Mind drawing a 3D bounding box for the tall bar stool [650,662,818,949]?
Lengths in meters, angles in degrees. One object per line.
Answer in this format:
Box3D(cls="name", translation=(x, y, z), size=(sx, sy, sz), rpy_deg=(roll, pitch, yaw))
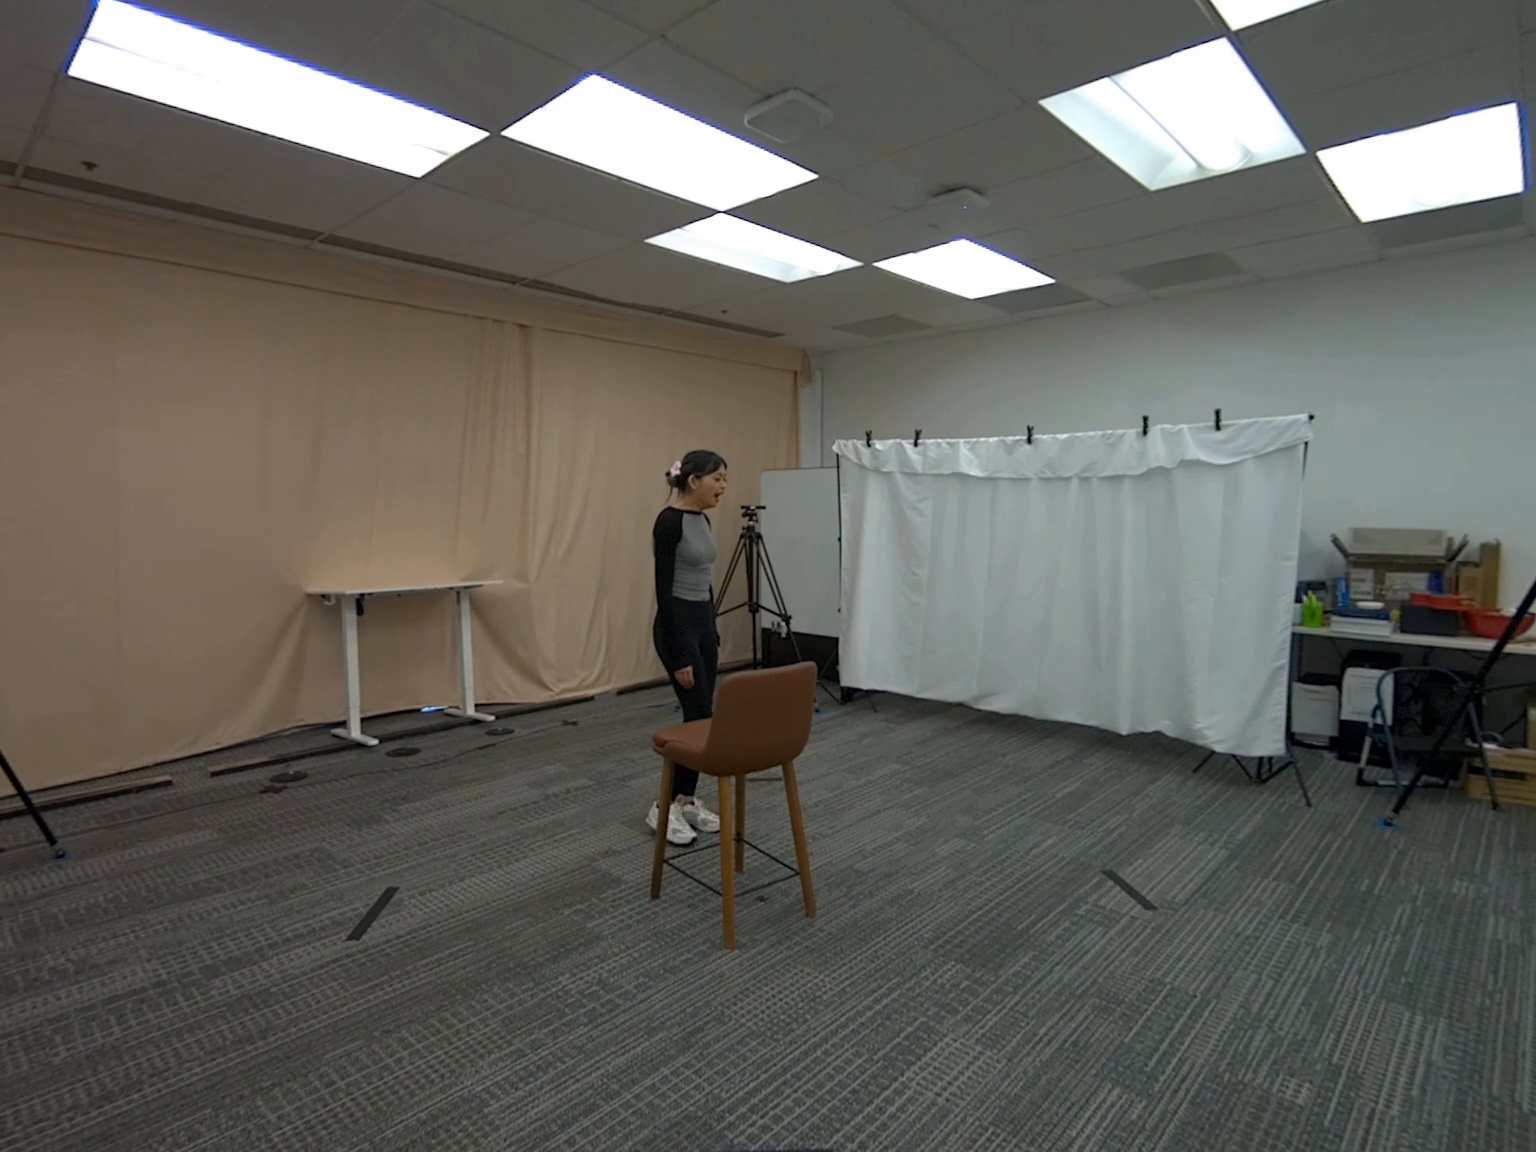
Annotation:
Box3D(cls="tall bar stool", translation=(-0.115, 0.716, 2.903), size=(0.443, 0.887, 0.483), rpy_deg=(-2, 6, -38))
